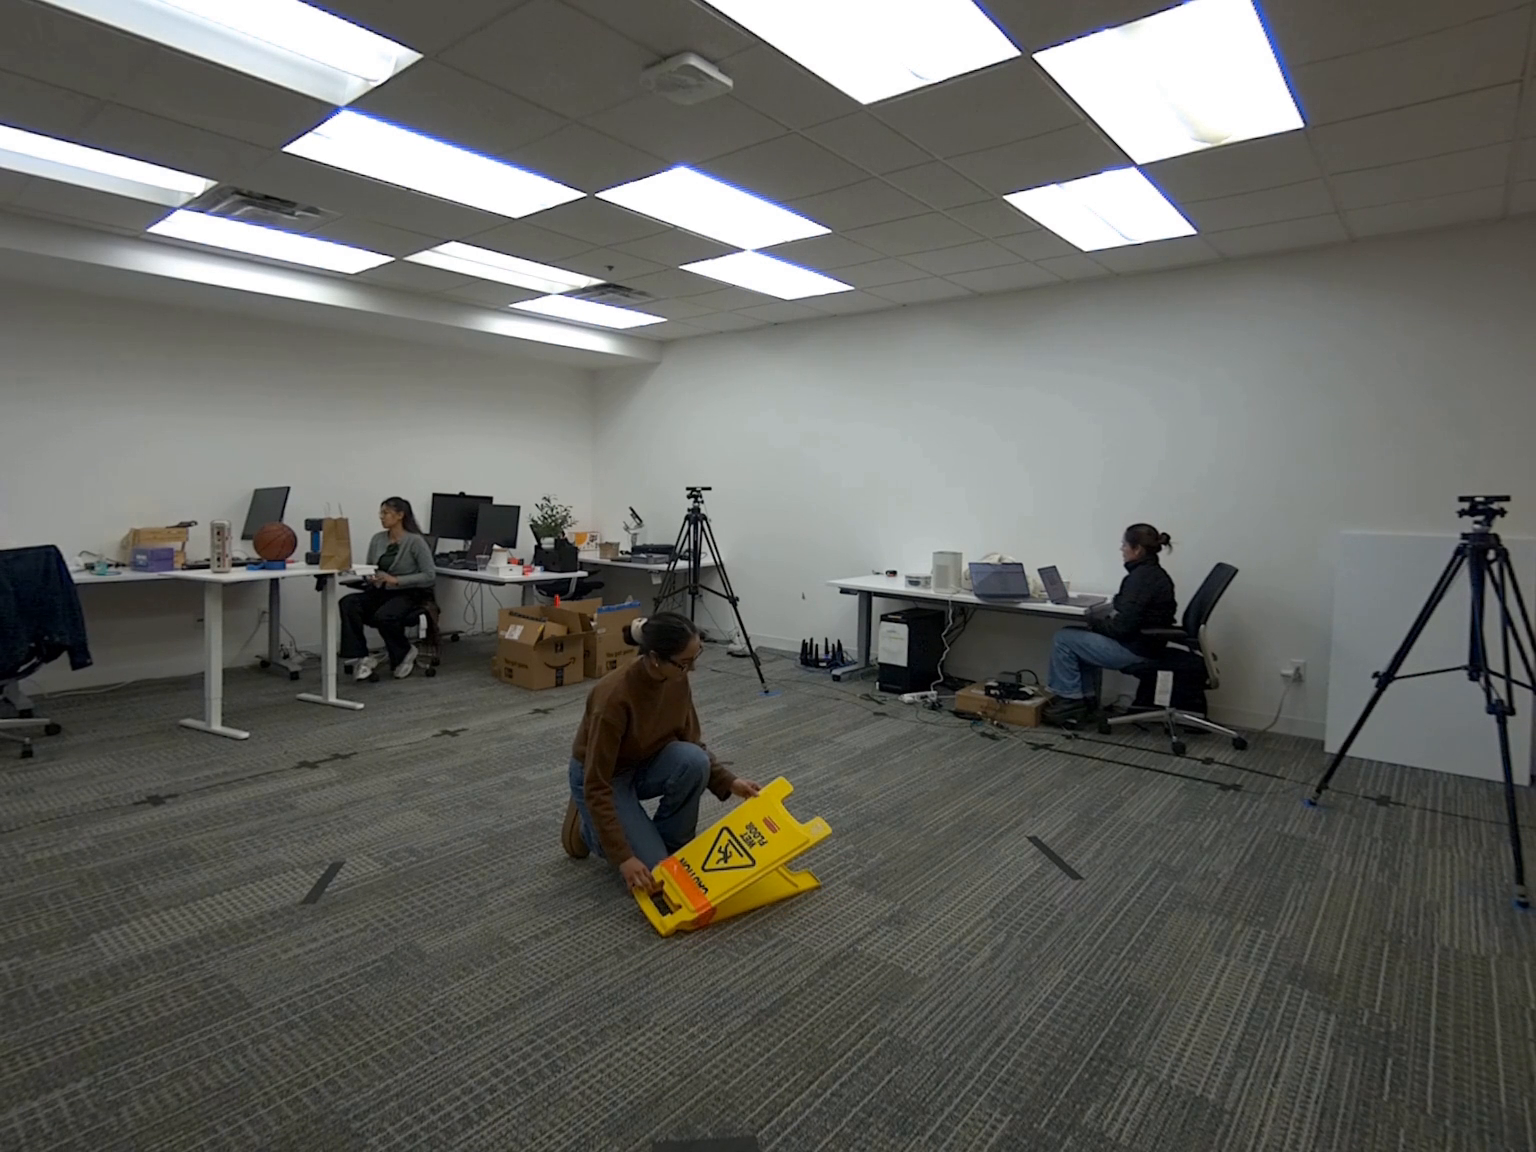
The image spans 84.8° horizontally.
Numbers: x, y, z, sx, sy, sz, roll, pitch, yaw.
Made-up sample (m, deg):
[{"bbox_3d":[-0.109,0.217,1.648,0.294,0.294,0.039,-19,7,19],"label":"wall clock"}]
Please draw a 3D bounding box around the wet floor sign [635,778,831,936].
[{"bbox_3d":[-0.138,0.982,2.848,0.633,0.283,0.294,-17,37,-33],"label":"wet floor sign"}]
